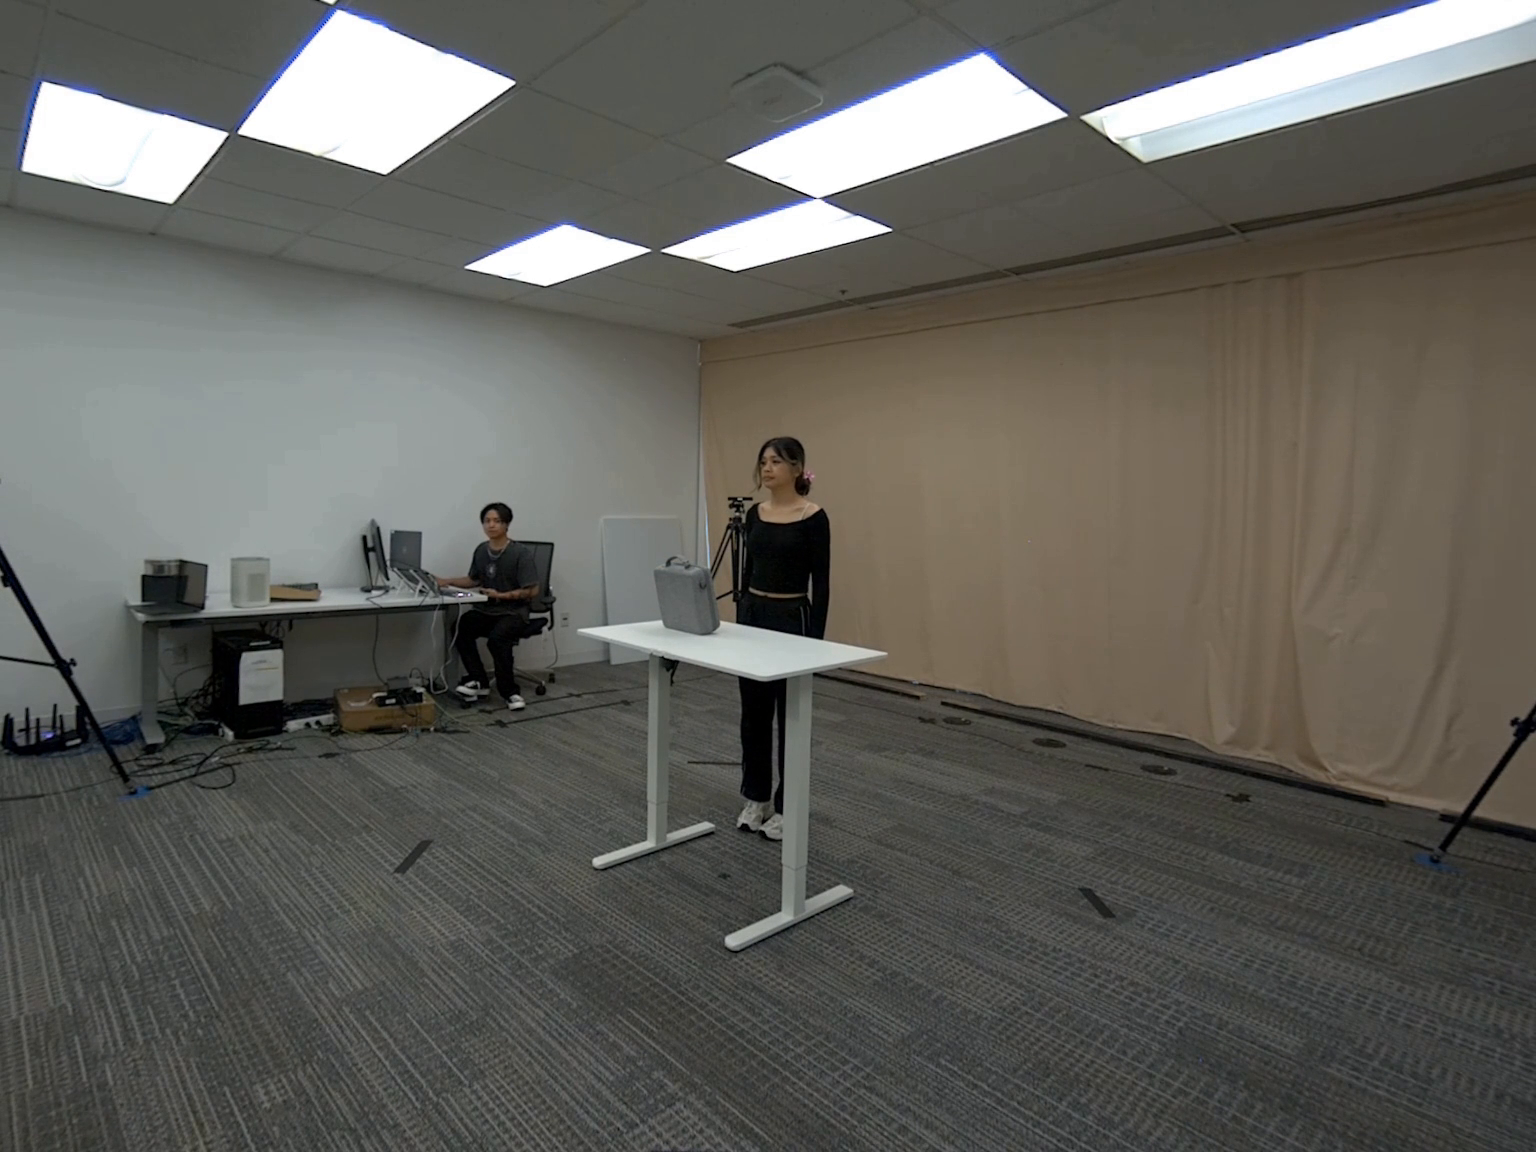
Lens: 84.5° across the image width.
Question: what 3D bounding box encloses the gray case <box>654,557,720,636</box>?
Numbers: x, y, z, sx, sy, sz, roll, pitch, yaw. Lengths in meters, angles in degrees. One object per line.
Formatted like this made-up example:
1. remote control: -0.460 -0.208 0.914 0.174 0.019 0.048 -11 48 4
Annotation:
1. gray case: -0.319 0.080 3.184 0.103 0.258 0.263 -18 16 -38
